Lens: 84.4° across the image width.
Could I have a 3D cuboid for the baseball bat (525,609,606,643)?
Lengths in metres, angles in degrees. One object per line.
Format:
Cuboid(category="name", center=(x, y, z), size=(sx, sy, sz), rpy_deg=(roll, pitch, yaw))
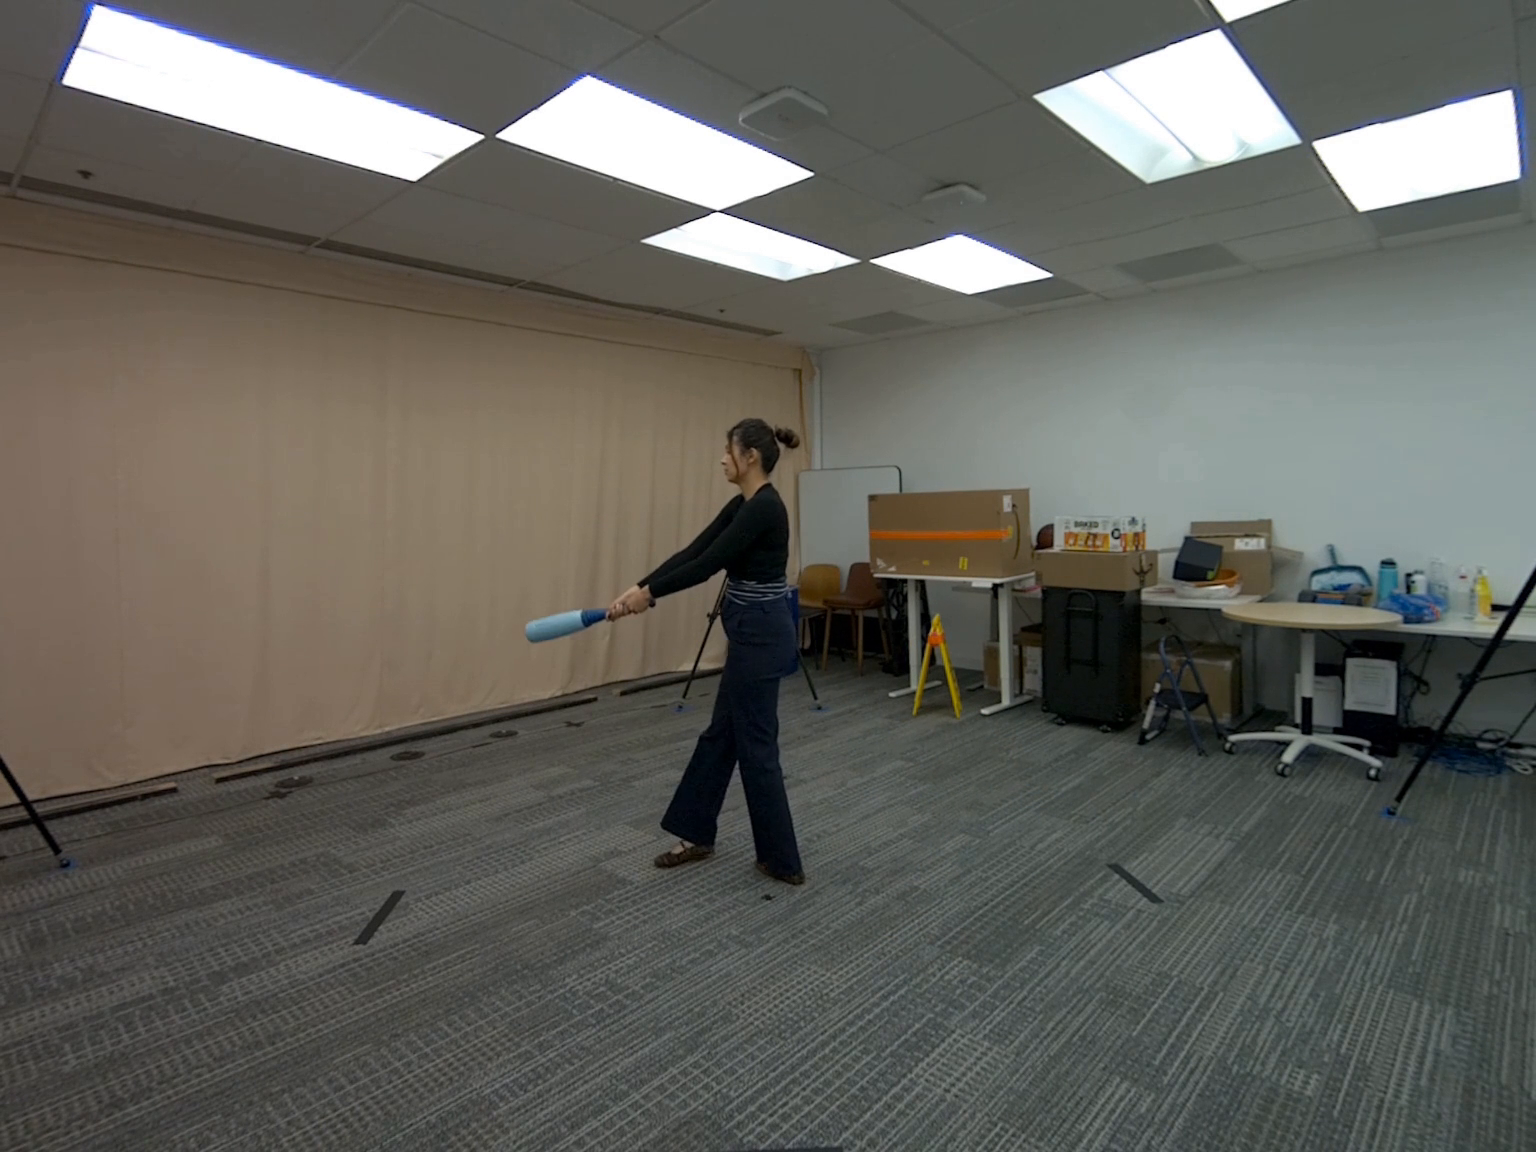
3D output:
Cuboid(category="baseball bat", center=(-0.676, 0.158, 3.201), size=(0.550, 0.089, 0.088), rpy_deg=(-13, 1, 13))
